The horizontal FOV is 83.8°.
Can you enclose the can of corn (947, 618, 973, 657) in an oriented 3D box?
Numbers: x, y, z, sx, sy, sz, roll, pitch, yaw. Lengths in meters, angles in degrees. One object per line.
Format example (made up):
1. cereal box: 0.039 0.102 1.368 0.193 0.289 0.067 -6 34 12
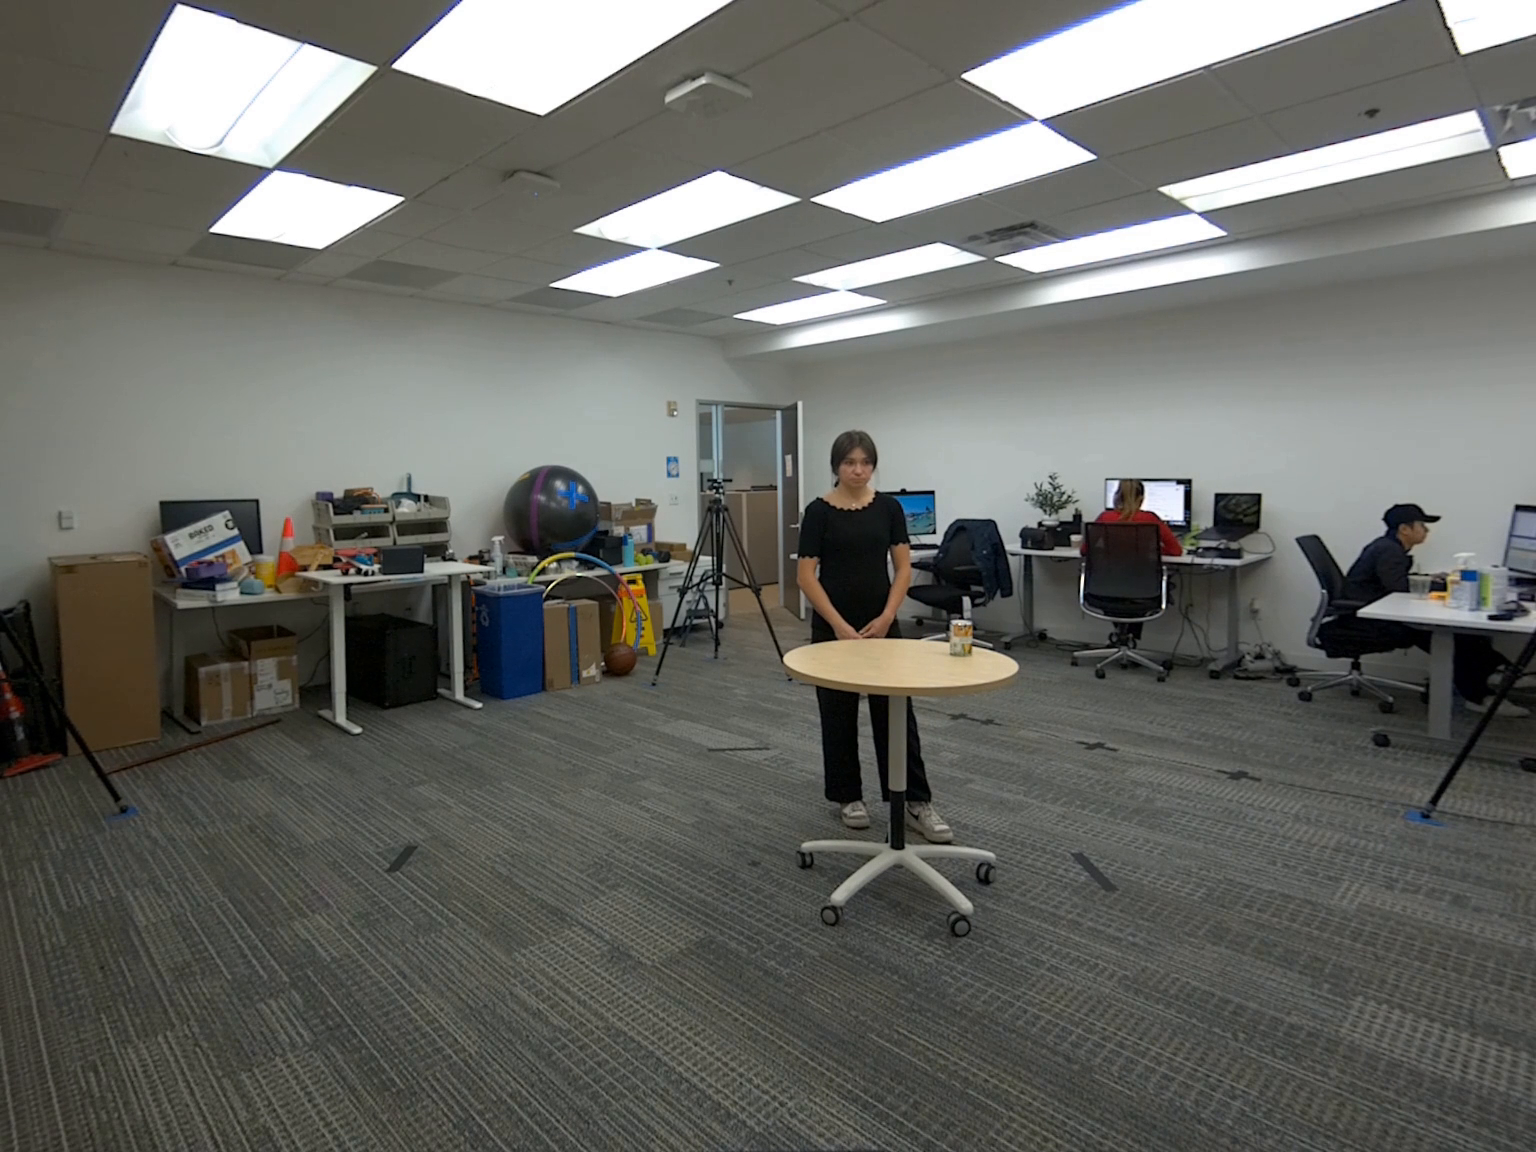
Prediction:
1. can of corn: 0.659 0.216 2.940 0.074 0.110 0.074 -2 5 -2
